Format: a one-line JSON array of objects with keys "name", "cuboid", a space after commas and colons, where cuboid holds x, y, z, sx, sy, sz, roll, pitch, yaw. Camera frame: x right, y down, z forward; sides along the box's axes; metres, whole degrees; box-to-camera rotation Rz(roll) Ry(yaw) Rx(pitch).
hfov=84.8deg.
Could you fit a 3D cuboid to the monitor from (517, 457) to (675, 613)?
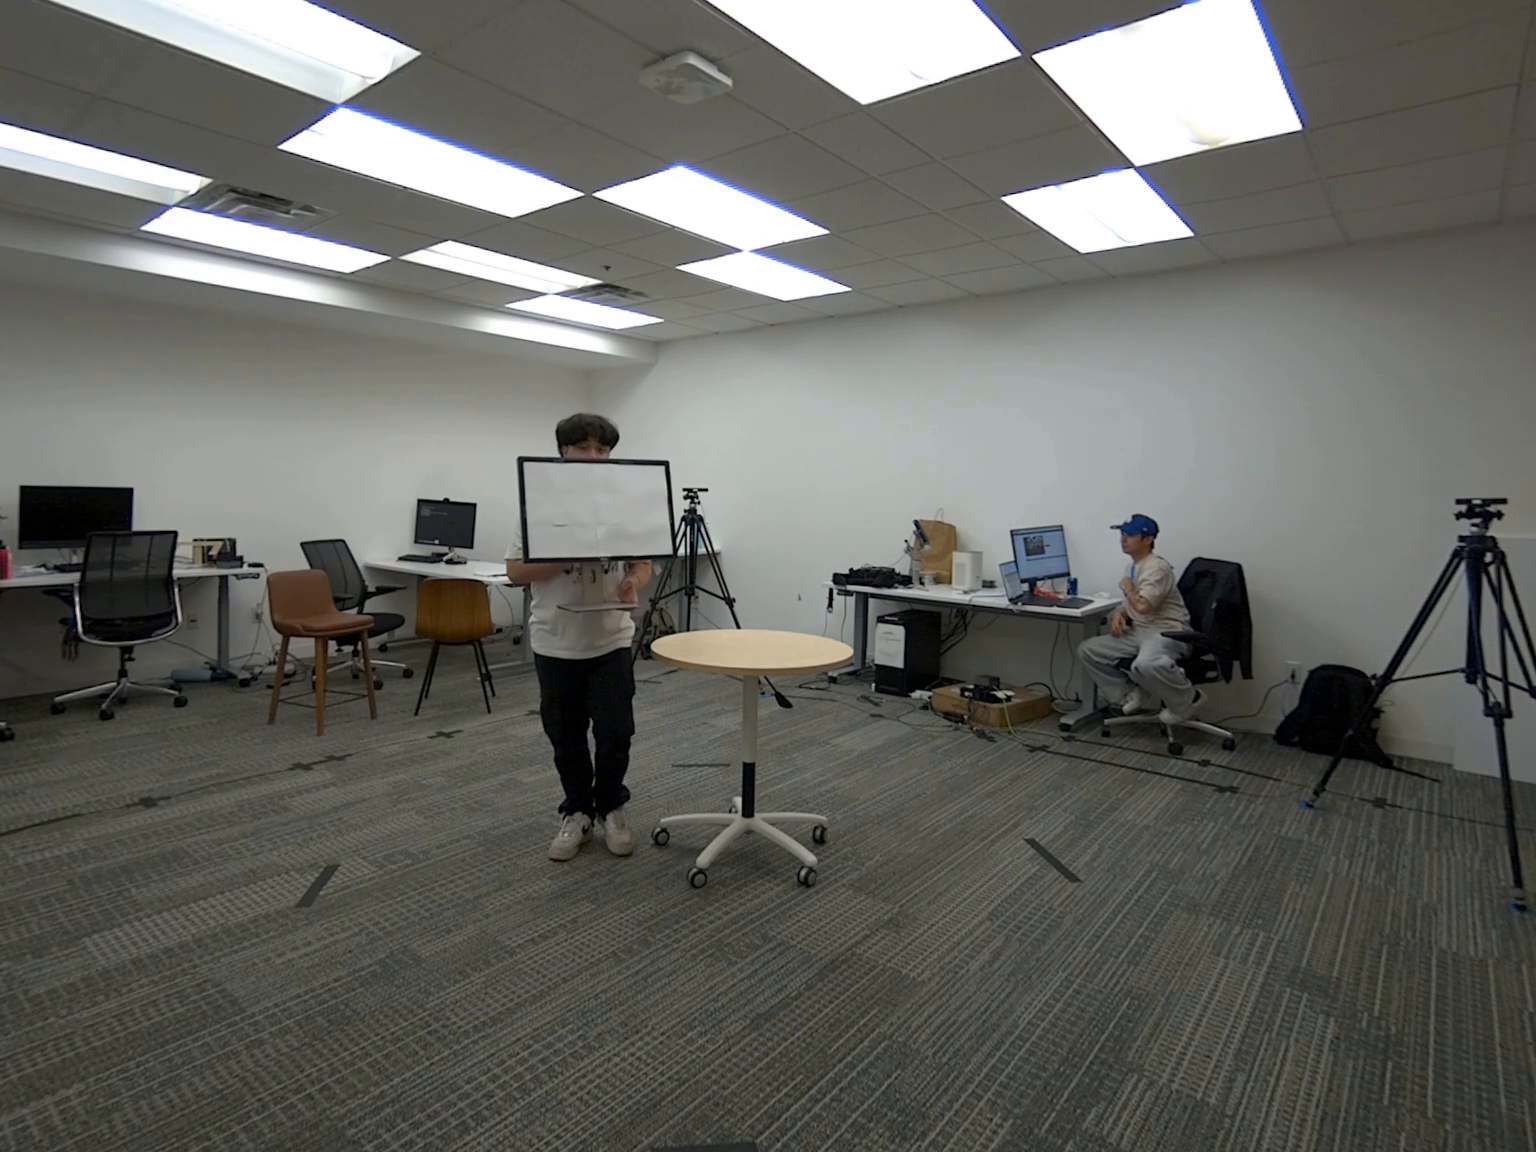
[{"name": "monitor", "cuboid": [-0.622, -0.144, 3.010, 0.551, 0.555, 0.215, -2, -2, -29]}]
